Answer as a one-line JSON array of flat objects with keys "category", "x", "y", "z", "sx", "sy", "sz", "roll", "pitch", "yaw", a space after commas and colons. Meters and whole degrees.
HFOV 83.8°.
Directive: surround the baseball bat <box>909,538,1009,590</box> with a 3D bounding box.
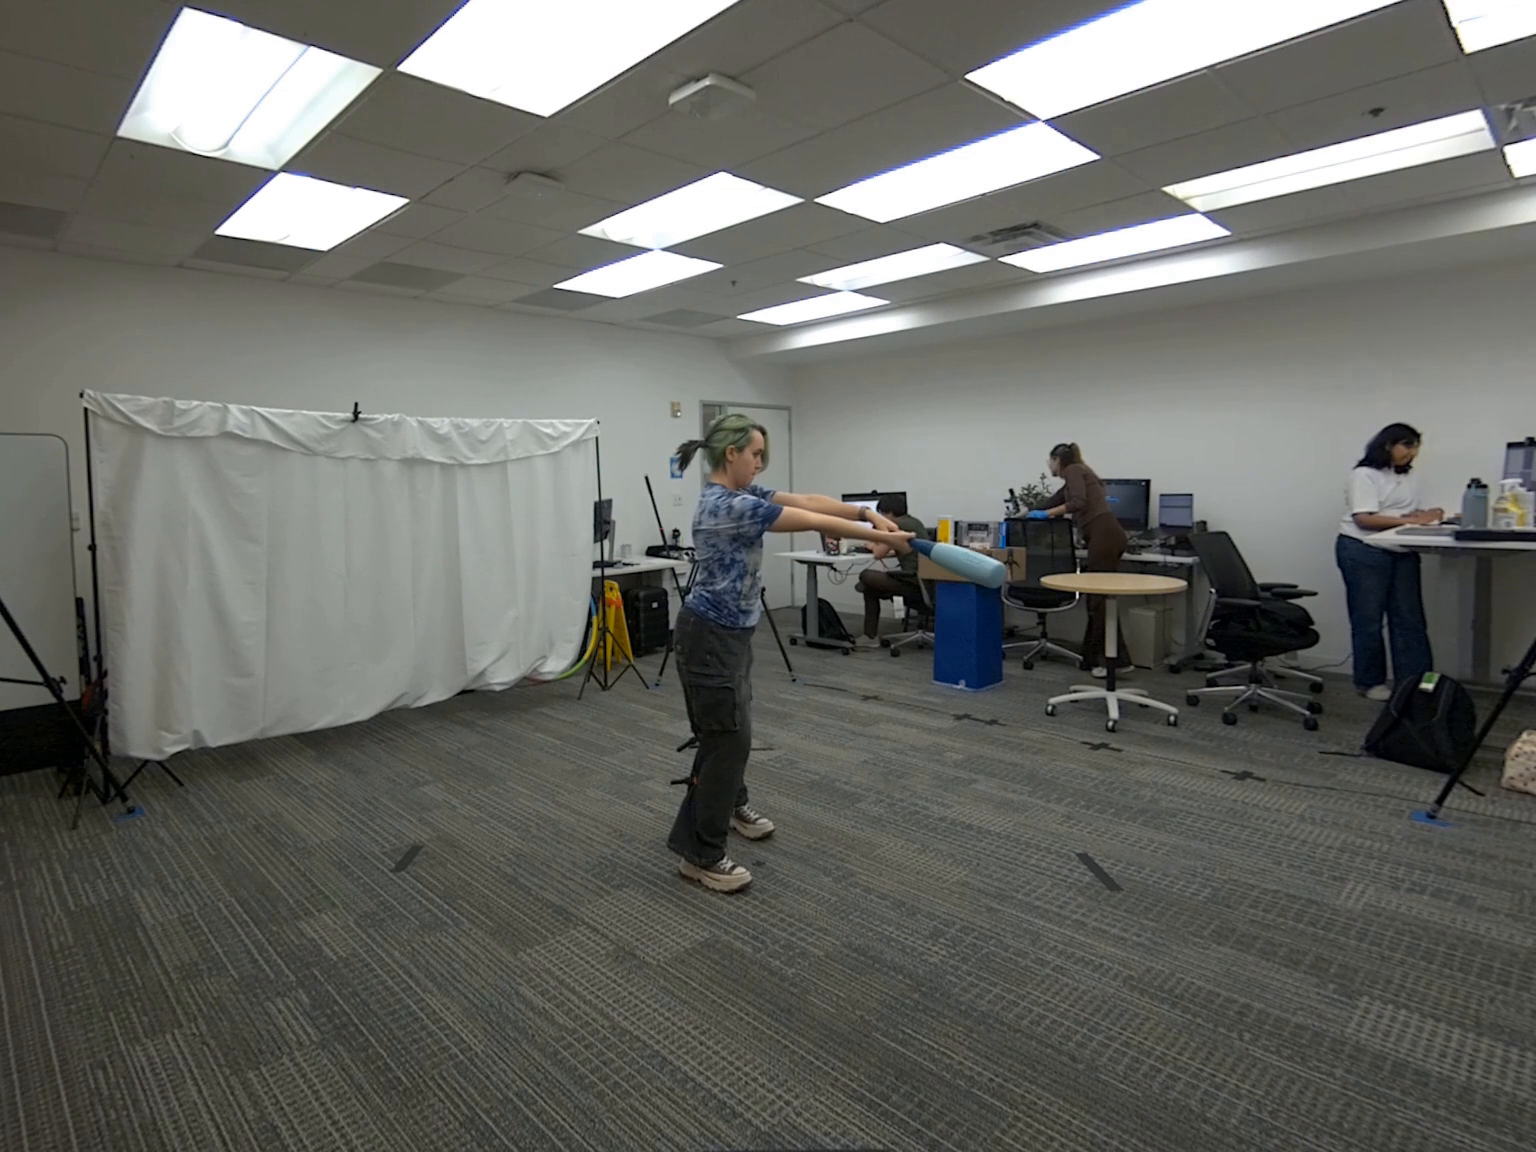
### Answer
[{"category": "baseball bat", "x": 0.540, "y": -0.081, "z": 2.817, "sx": 0.087, "sy": 0.088, "sz": 0.564, "roll": -4, "pitch": 20, "yaw": -35}]
